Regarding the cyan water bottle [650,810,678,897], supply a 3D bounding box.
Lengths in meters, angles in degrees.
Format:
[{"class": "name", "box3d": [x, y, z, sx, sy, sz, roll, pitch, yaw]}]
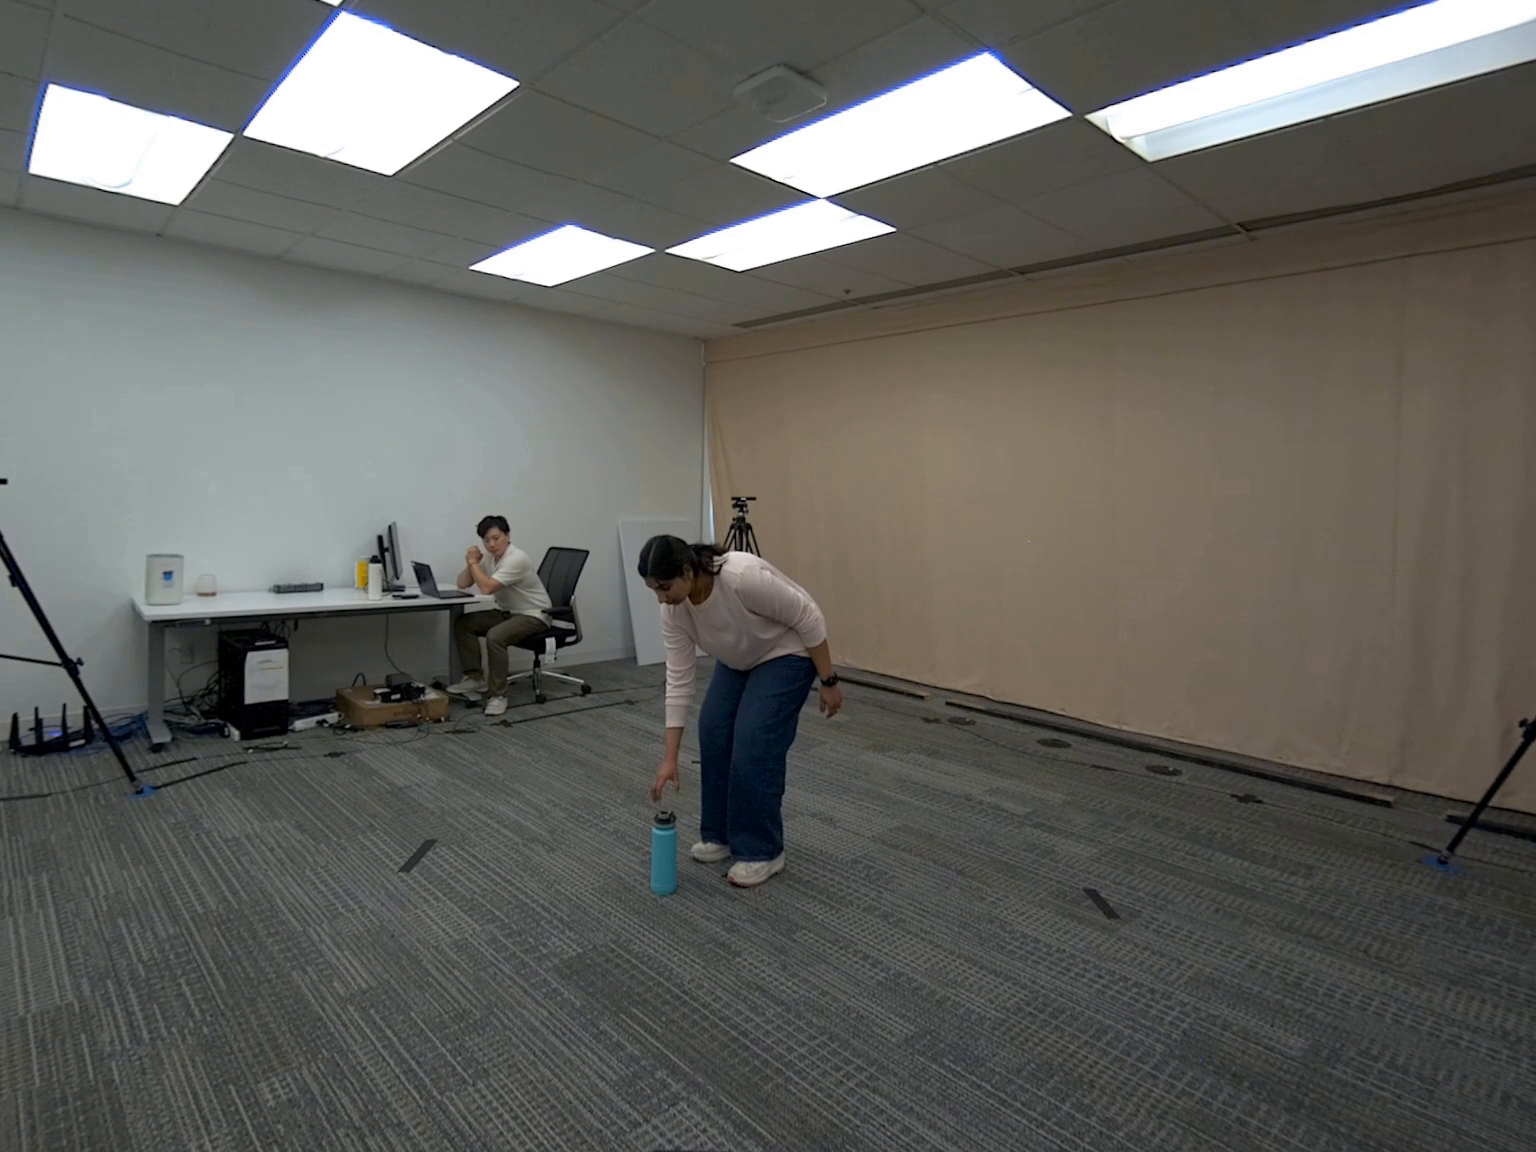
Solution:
[{"class": "cyan water bottle", "box3d": [-0.373, 0.976, 2.978, 0.092, 0.283, 0.092, 1, 3, -1]}]
